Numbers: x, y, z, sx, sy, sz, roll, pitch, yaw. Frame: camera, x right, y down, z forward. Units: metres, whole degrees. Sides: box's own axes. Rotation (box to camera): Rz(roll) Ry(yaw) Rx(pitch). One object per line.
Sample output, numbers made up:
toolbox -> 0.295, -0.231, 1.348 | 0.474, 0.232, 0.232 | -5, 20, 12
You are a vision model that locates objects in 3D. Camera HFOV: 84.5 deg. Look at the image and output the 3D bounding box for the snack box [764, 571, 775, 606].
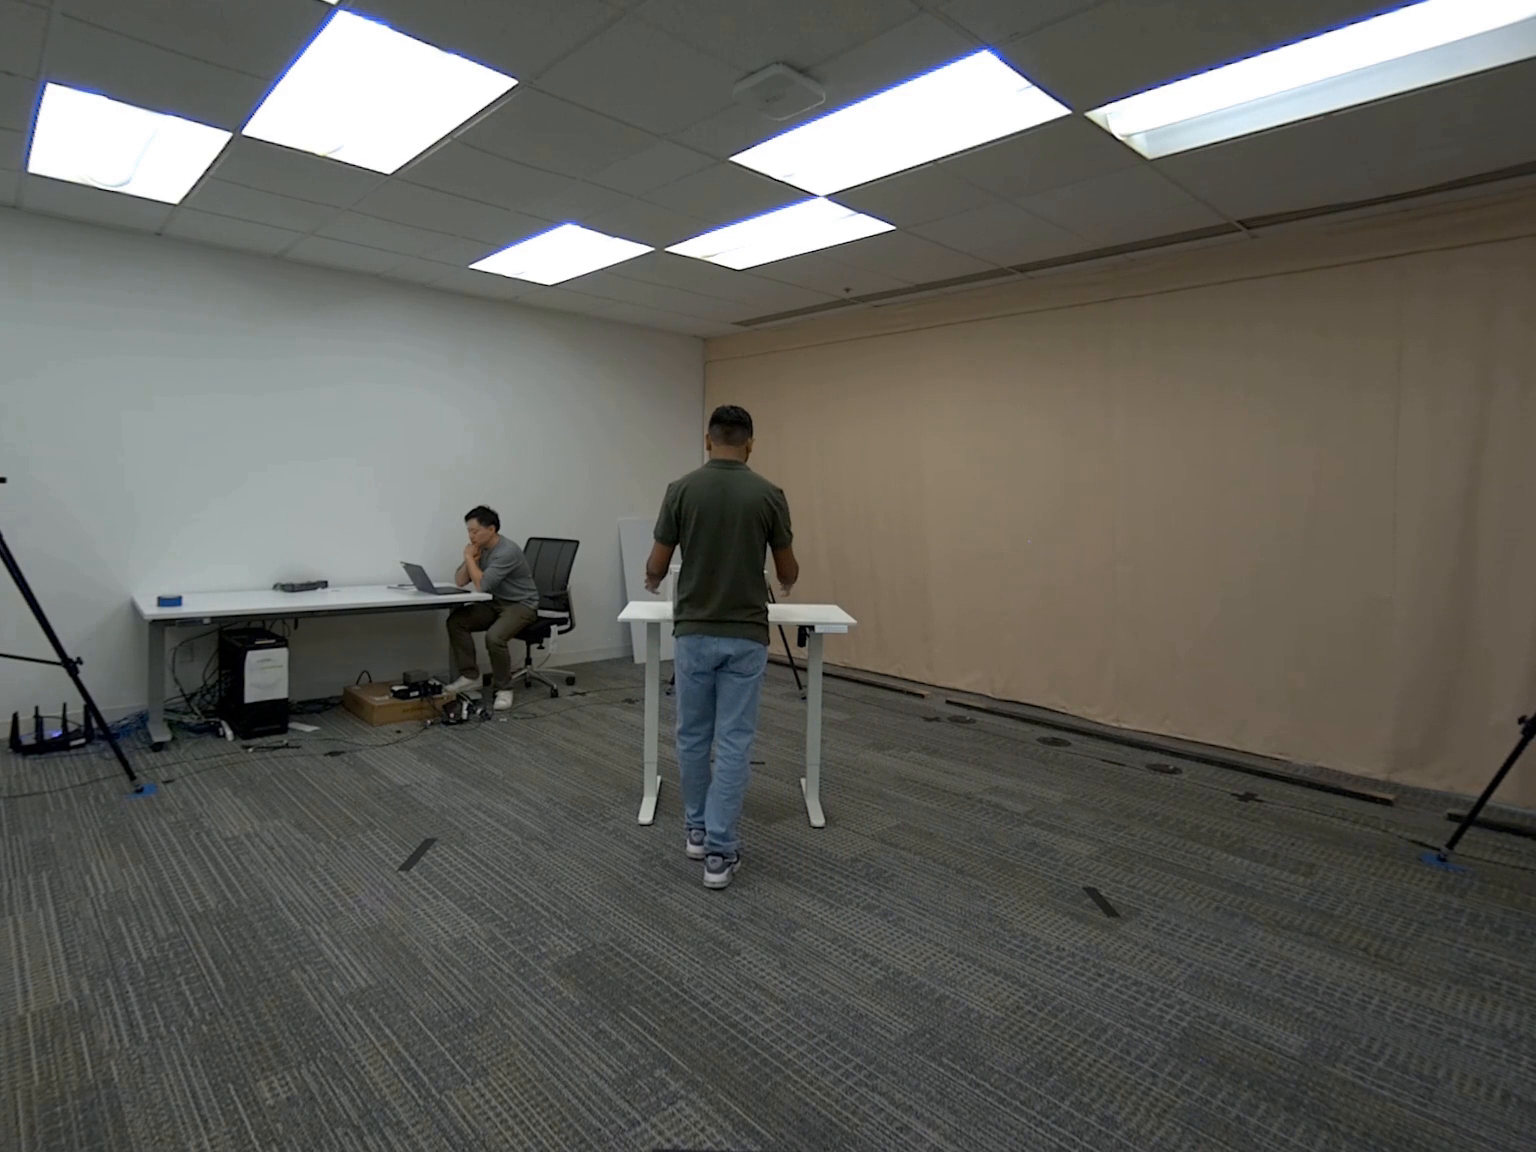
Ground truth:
snack box -> -0.228, 0.069, 3.676 | 0.402, 0.205, 0.344 | 0, 4, -10
